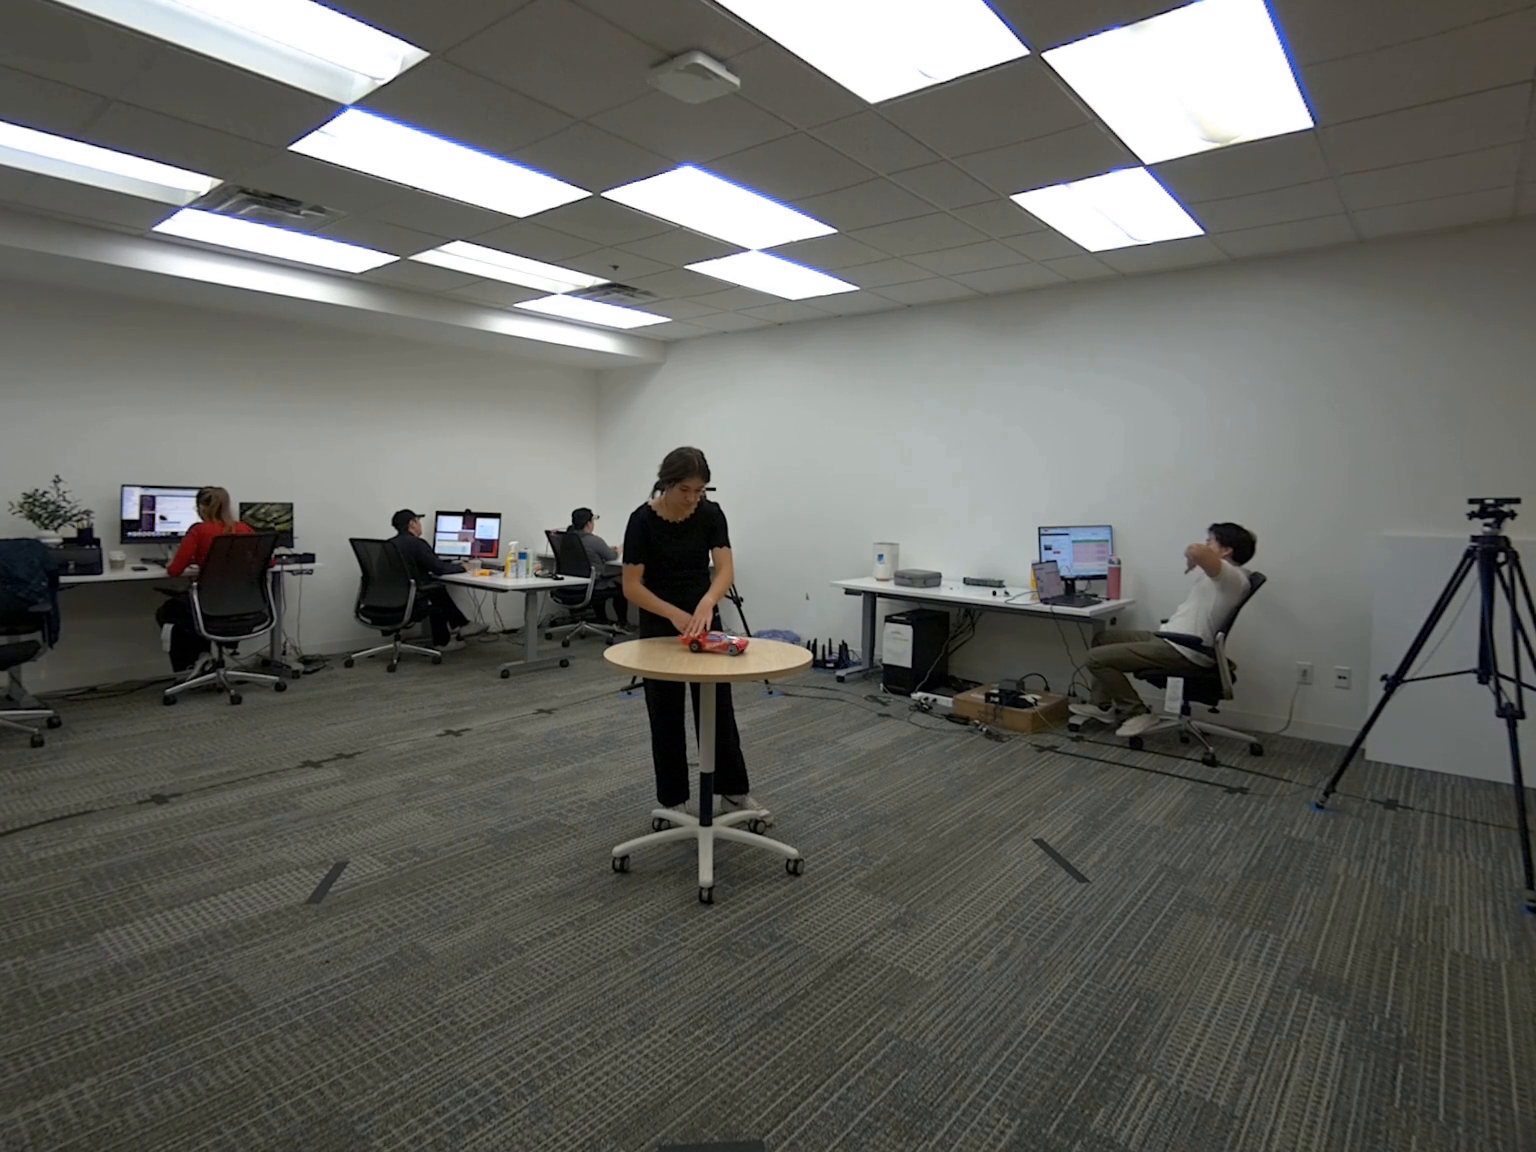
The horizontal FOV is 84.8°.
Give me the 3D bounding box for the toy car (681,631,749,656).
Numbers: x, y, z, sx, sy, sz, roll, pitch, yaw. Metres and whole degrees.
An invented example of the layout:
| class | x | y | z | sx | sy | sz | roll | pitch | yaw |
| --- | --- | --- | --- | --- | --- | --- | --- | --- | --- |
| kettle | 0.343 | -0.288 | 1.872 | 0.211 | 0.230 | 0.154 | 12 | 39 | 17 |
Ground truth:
| class | x | y | z | sx | sy | sz | roll | pitch | yaw |
| --- | --- | --- | --- | --- | --- | --- | --- | --- | --- |
| toy car | -0.217 | 0.249 | 3.146 | 0.258 | 0.083 | 0.129 | 12 | 5 | 12 |
